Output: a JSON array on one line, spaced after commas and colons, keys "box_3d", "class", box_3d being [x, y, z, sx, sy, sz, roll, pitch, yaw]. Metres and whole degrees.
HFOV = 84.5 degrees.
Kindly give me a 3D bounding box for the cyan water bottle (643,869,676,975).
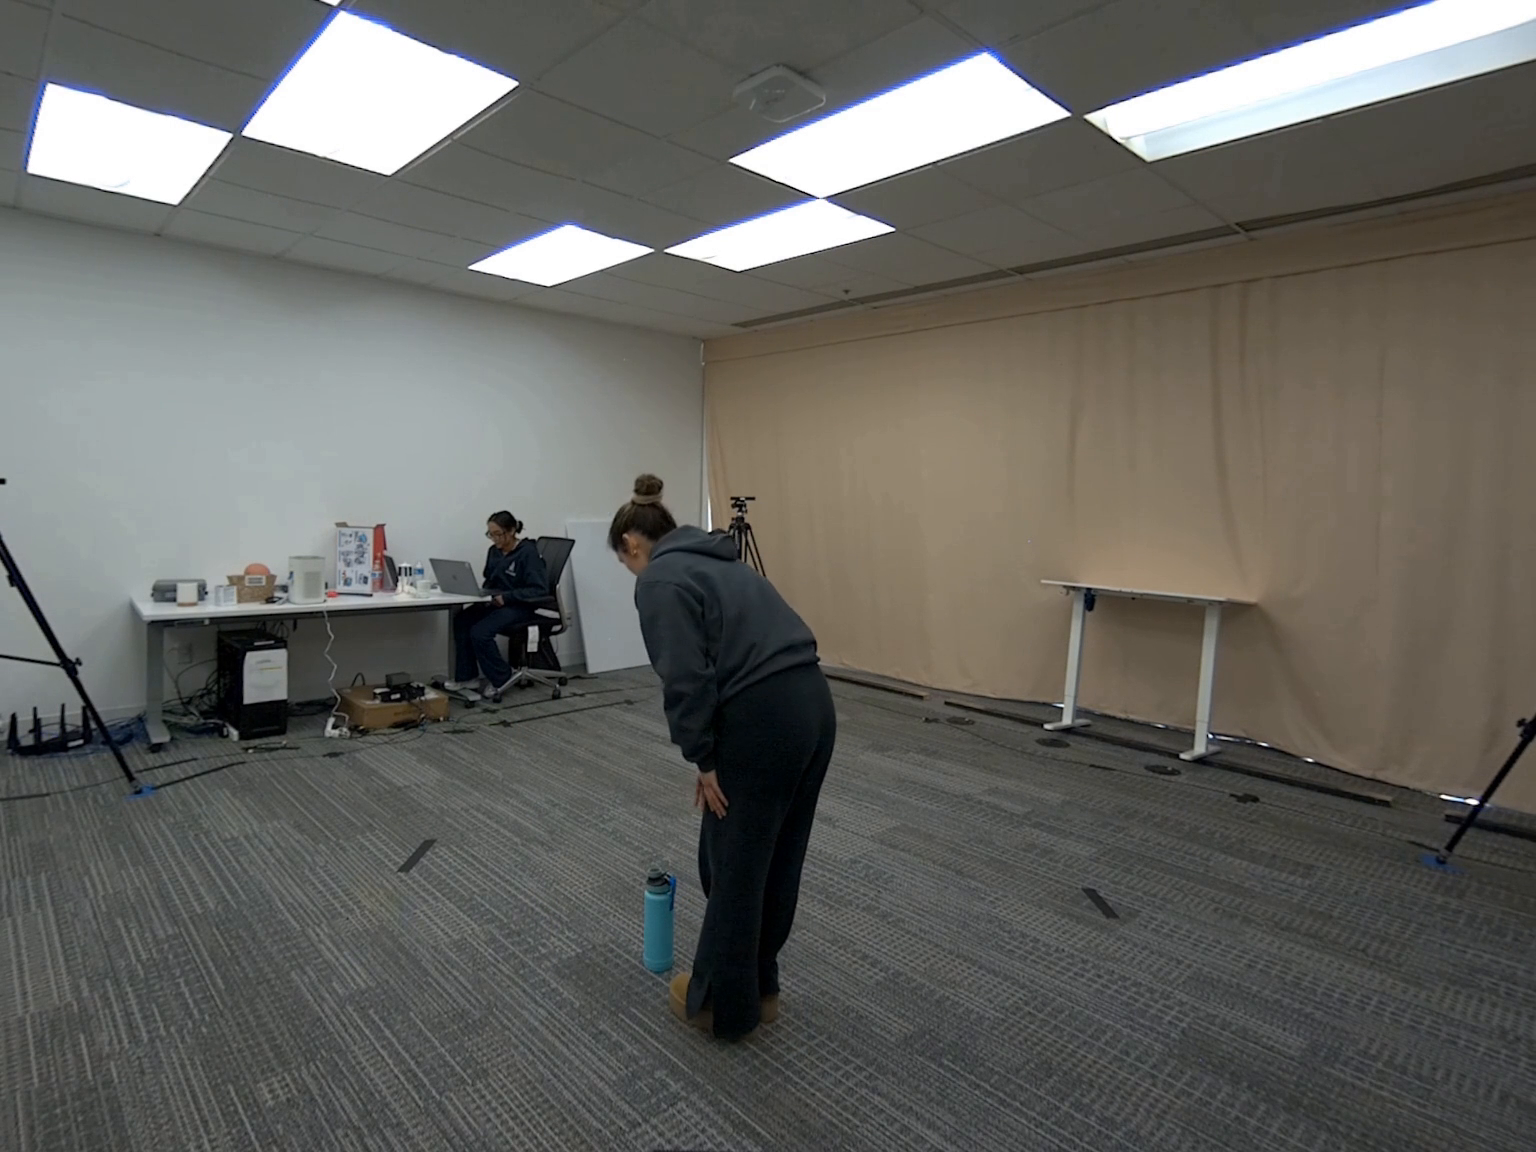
[{"box_3d": [-0.324, 1.021, 2.507, 0.092, 0.282, 0.092, 4, 4, -2], "class": "cyan water bottle"}]
